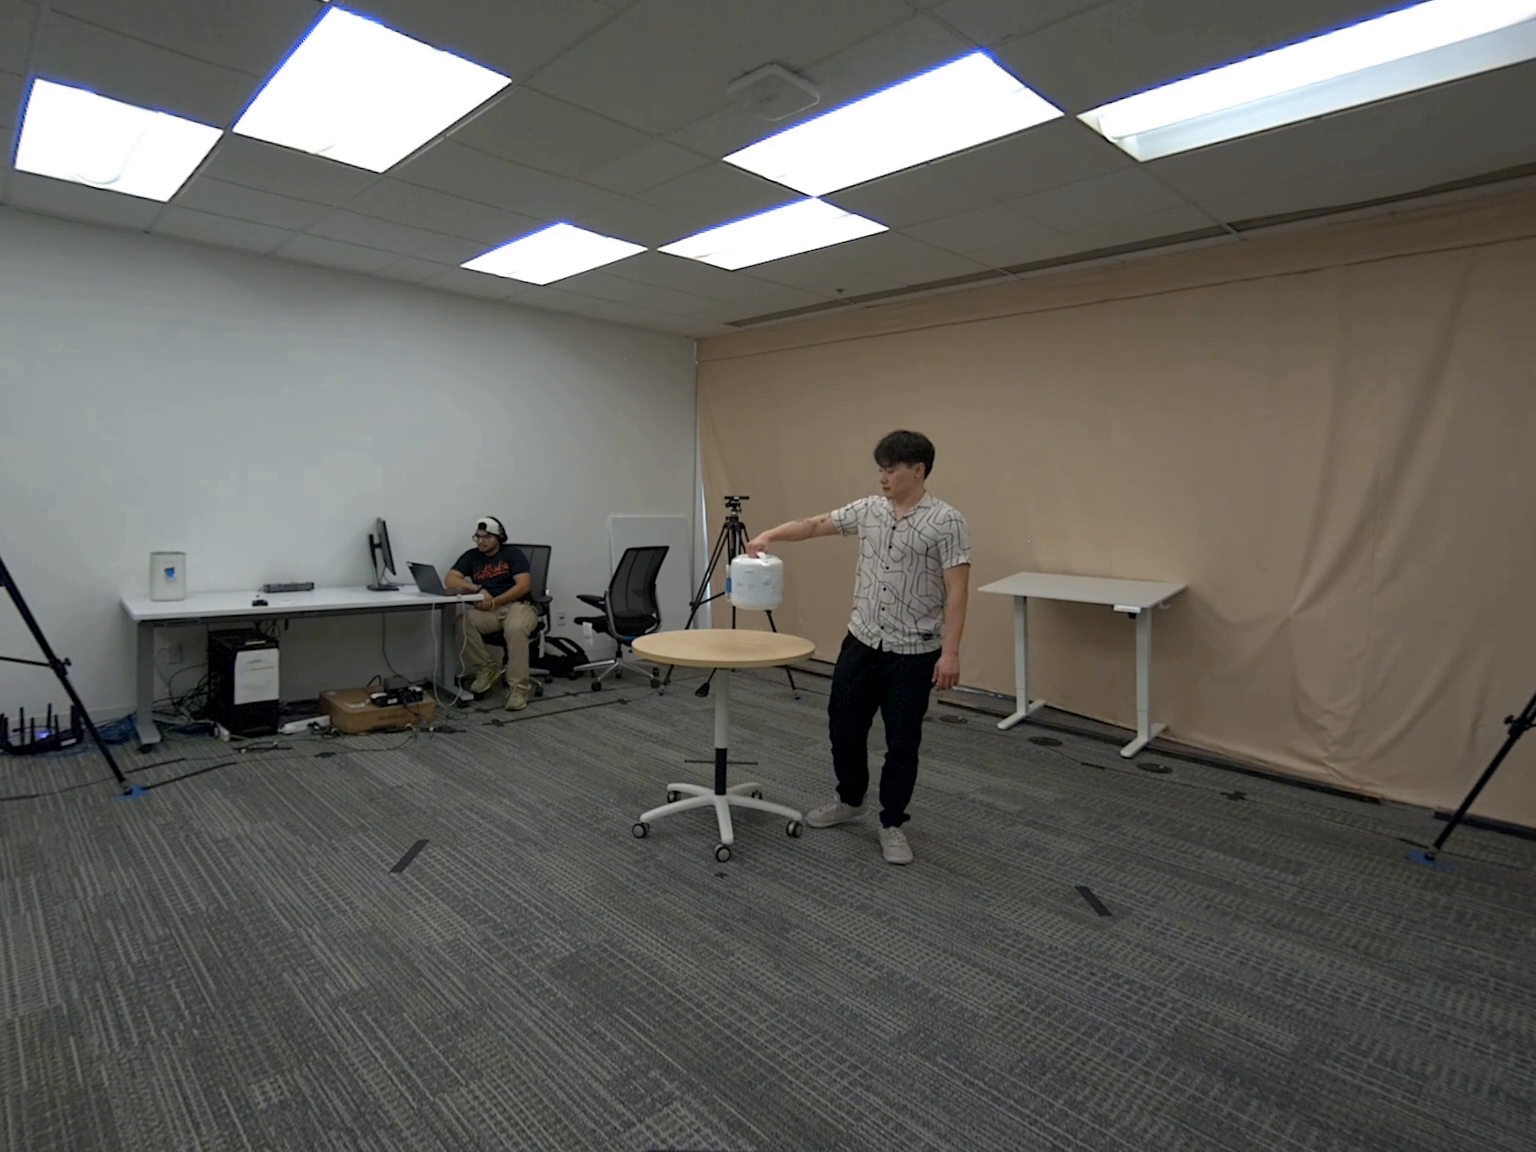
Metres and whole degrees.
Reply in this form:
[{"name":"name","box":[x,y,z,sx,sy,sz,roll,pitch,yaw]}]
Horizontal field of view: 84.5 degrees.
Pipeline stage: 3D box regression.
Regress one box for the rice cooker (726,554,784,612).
[{"name":"rice cooker","box":[-0.051,0.010,3.412,0.214,0.231,0.225,-3,10,-20]}]
